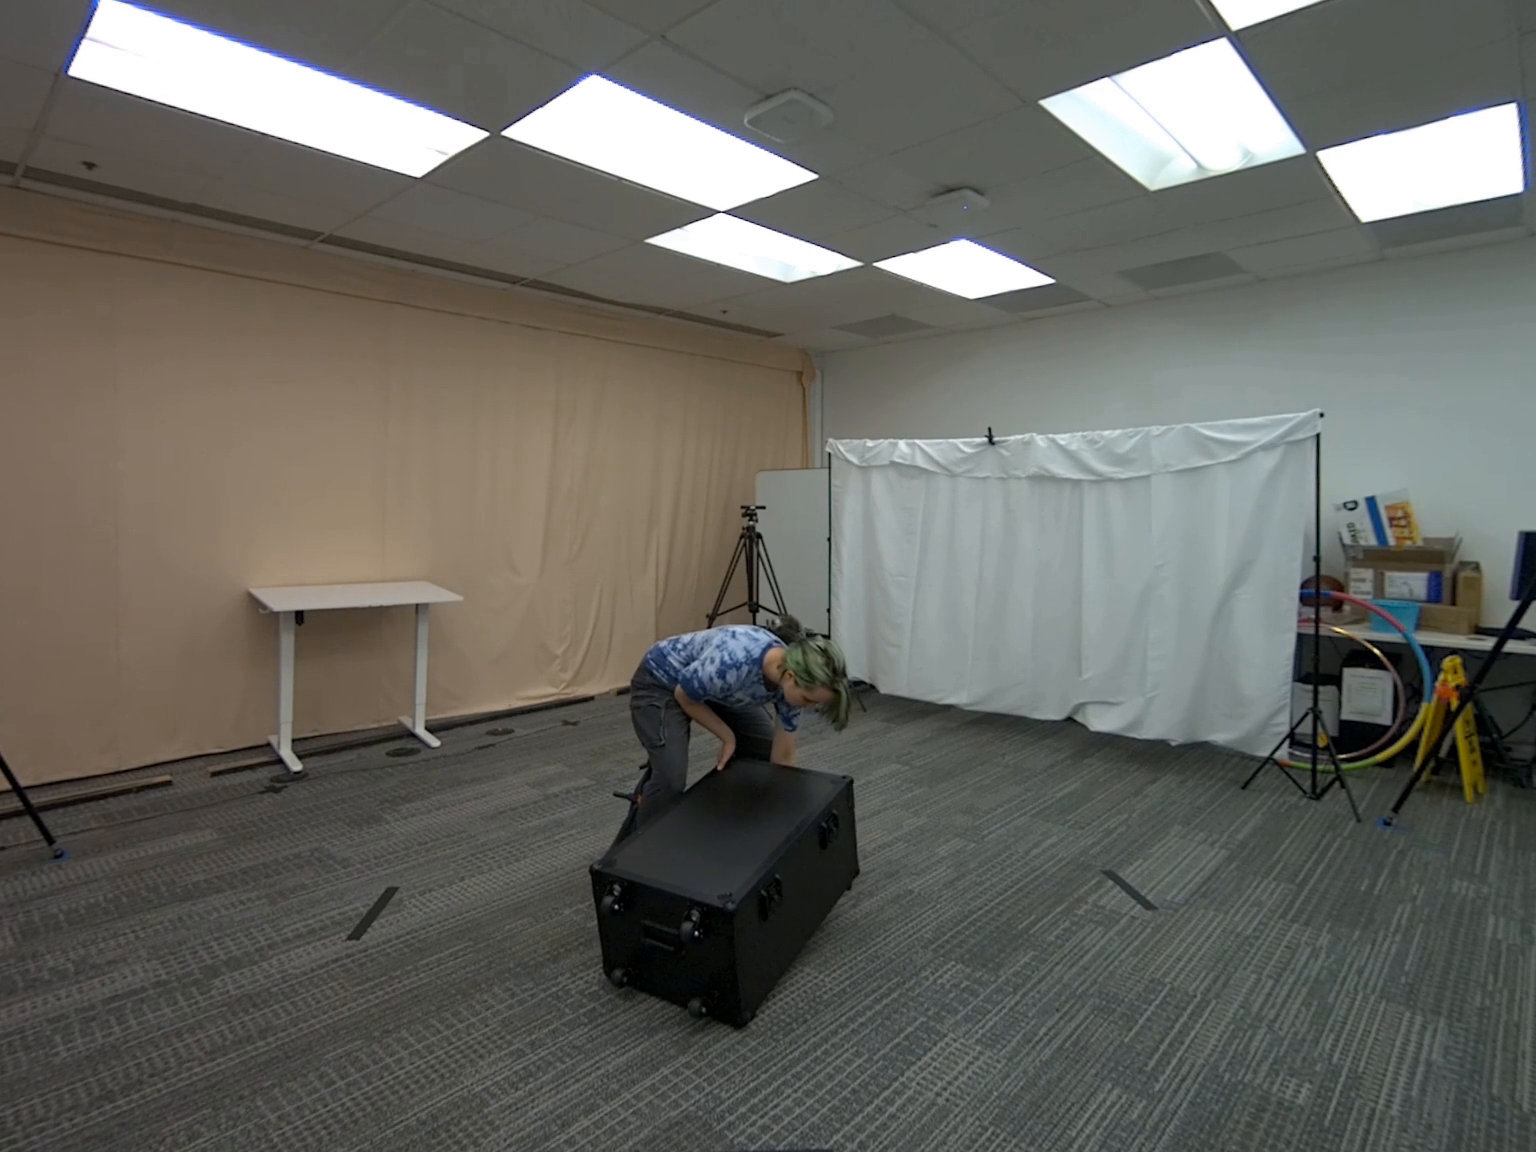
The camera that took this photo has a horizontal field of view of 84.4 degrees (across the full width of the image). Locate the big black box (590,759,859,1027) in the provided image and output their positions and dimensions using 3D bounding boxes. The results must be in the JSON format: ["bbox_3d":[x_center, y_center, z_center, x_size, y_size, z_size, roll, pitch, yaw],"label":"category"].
[{"bbox_3d":[-0.111,0.942,2.606,0.537,0.393,0.843,2,13,31],"label":"big black box"}]
